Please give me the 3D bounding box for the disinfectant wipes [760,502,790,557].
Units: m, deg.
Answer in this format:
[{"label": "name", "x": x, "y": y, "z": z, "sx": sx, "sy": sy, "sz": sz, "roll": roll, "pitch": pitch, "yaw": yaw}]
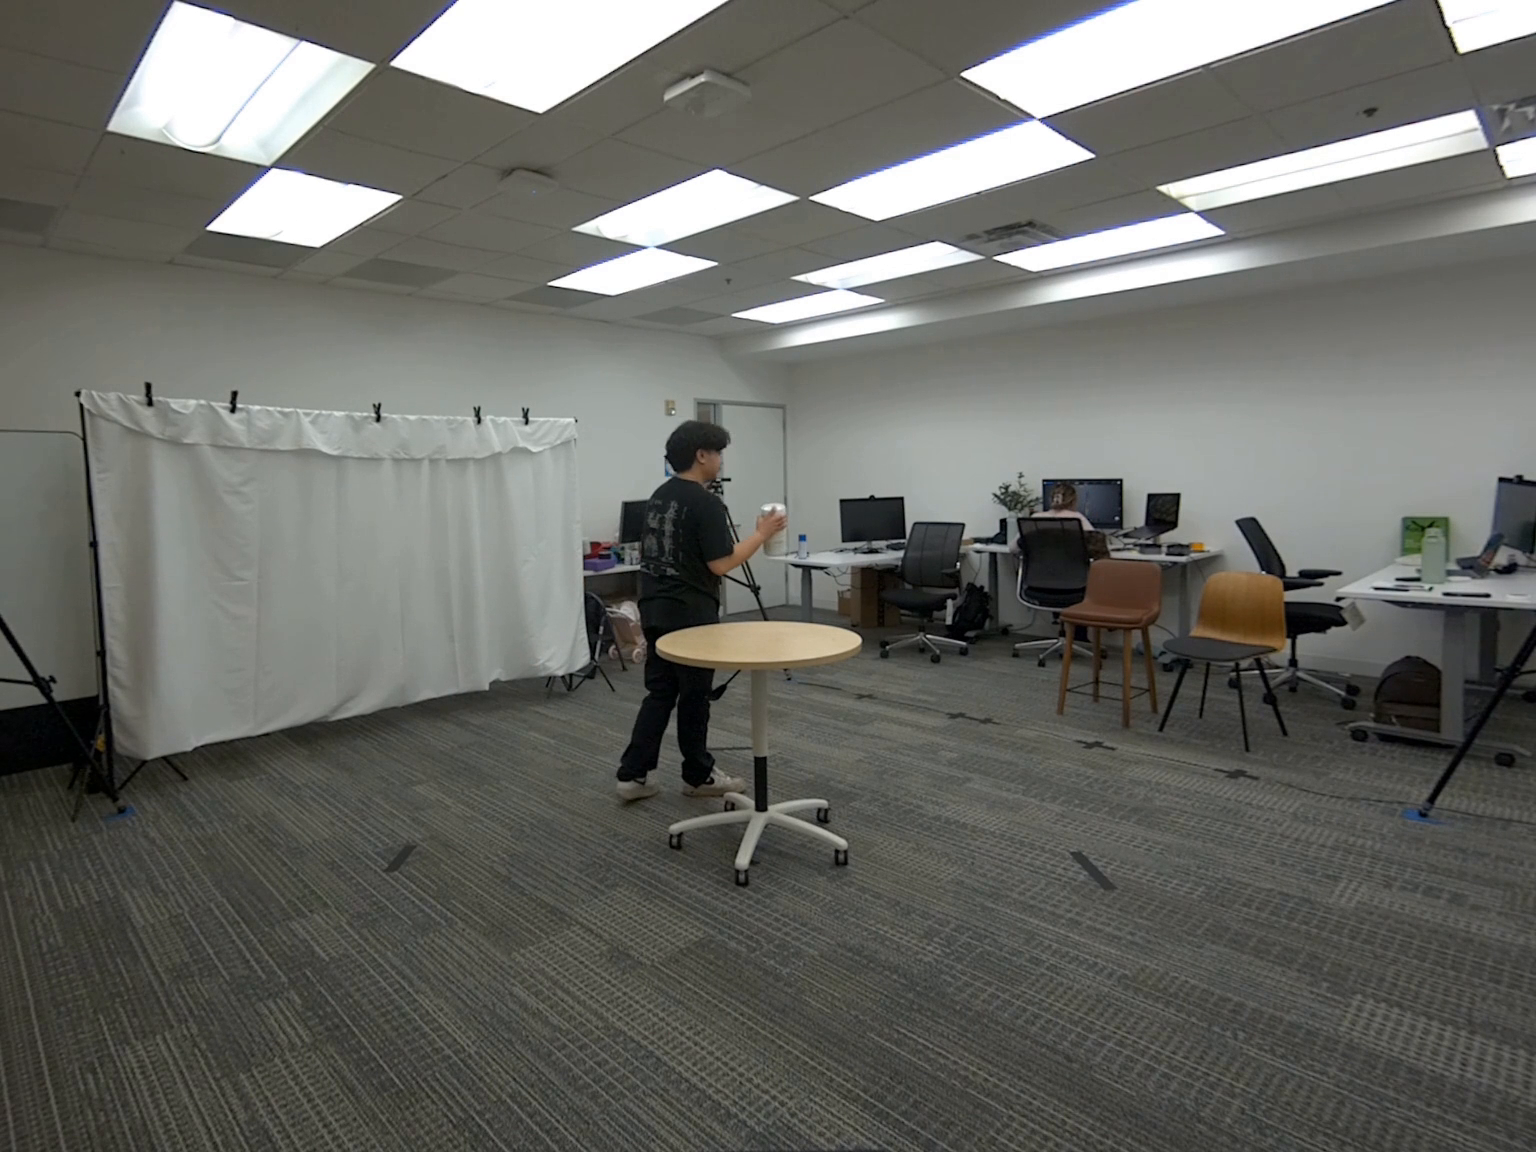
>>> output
[{"label": "disinfectant wipes", "x": 0.026, "y": -0.203, "z": 3.770, "sx": 0.118, "sy": 0.214, "sz": 0.119, "roll": -7, "pitch": 17, "yaw": 0}]
